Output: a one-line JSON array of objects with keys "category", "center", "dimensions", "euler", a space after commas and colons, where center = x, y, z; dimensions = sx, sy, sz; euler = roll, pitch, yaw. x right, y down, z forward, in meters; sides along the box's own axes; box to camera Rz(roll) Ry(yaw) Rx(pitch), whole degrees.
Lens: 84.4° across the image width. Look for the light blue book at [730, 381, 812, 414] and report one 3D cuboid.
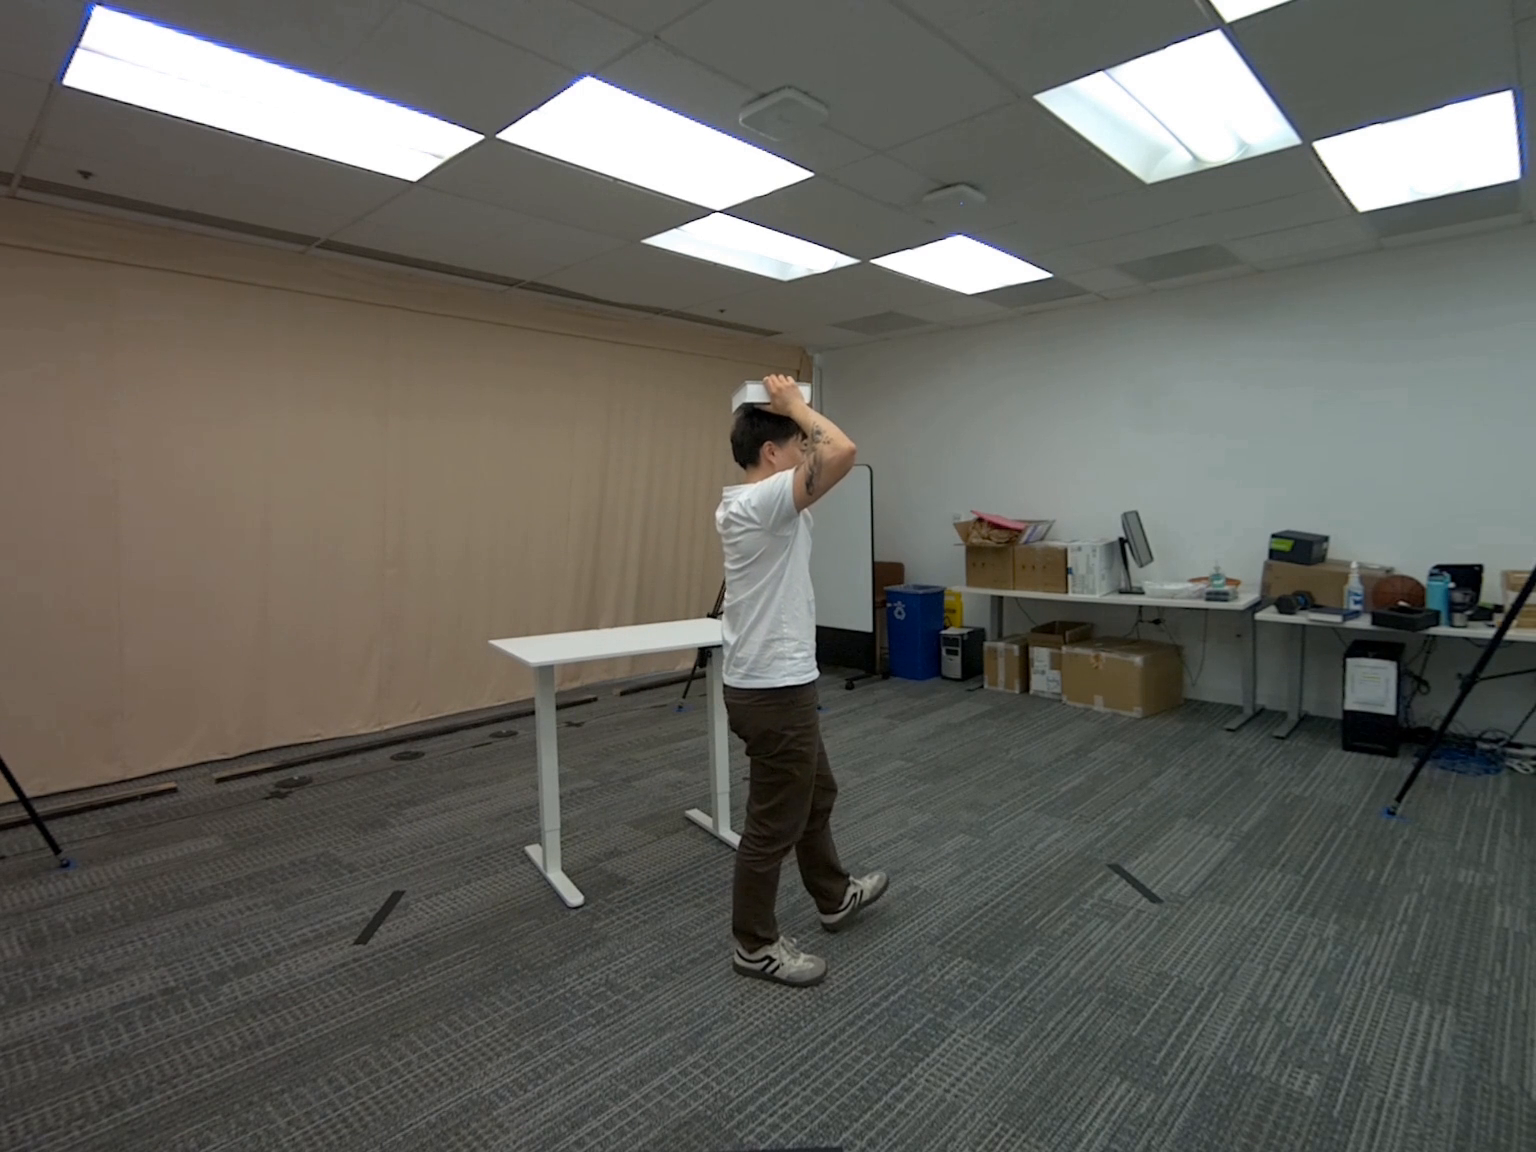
[{"category": "light blue book", "center": [0.007, -0.519, 2.451], "dimensions": [0.189, 0.059, 0.264], "euler": [-3, 3, -10]}]
